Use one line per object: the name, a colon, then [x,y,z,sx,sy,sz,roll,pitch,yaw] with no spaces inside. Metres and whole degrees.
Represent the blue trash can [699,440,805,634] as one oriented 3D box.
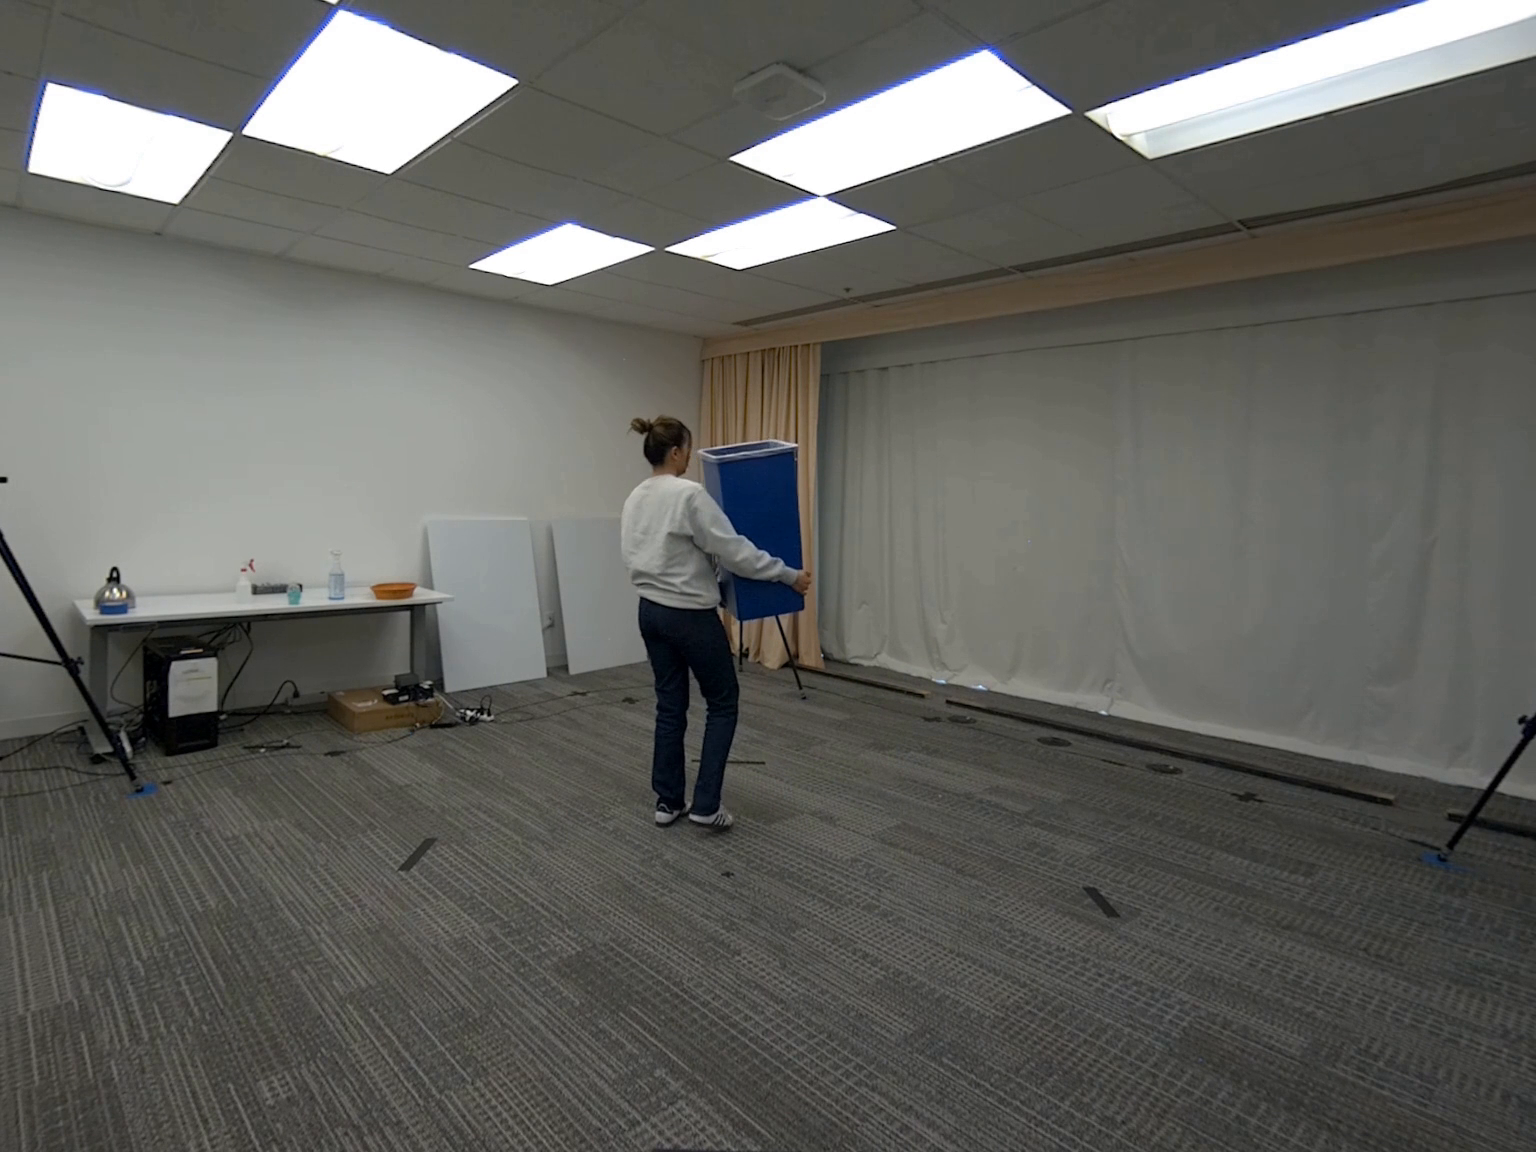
blue trash can: [-0.067,-0.210,3.658,0.371,0.706,0.385,-9,13,-12]
